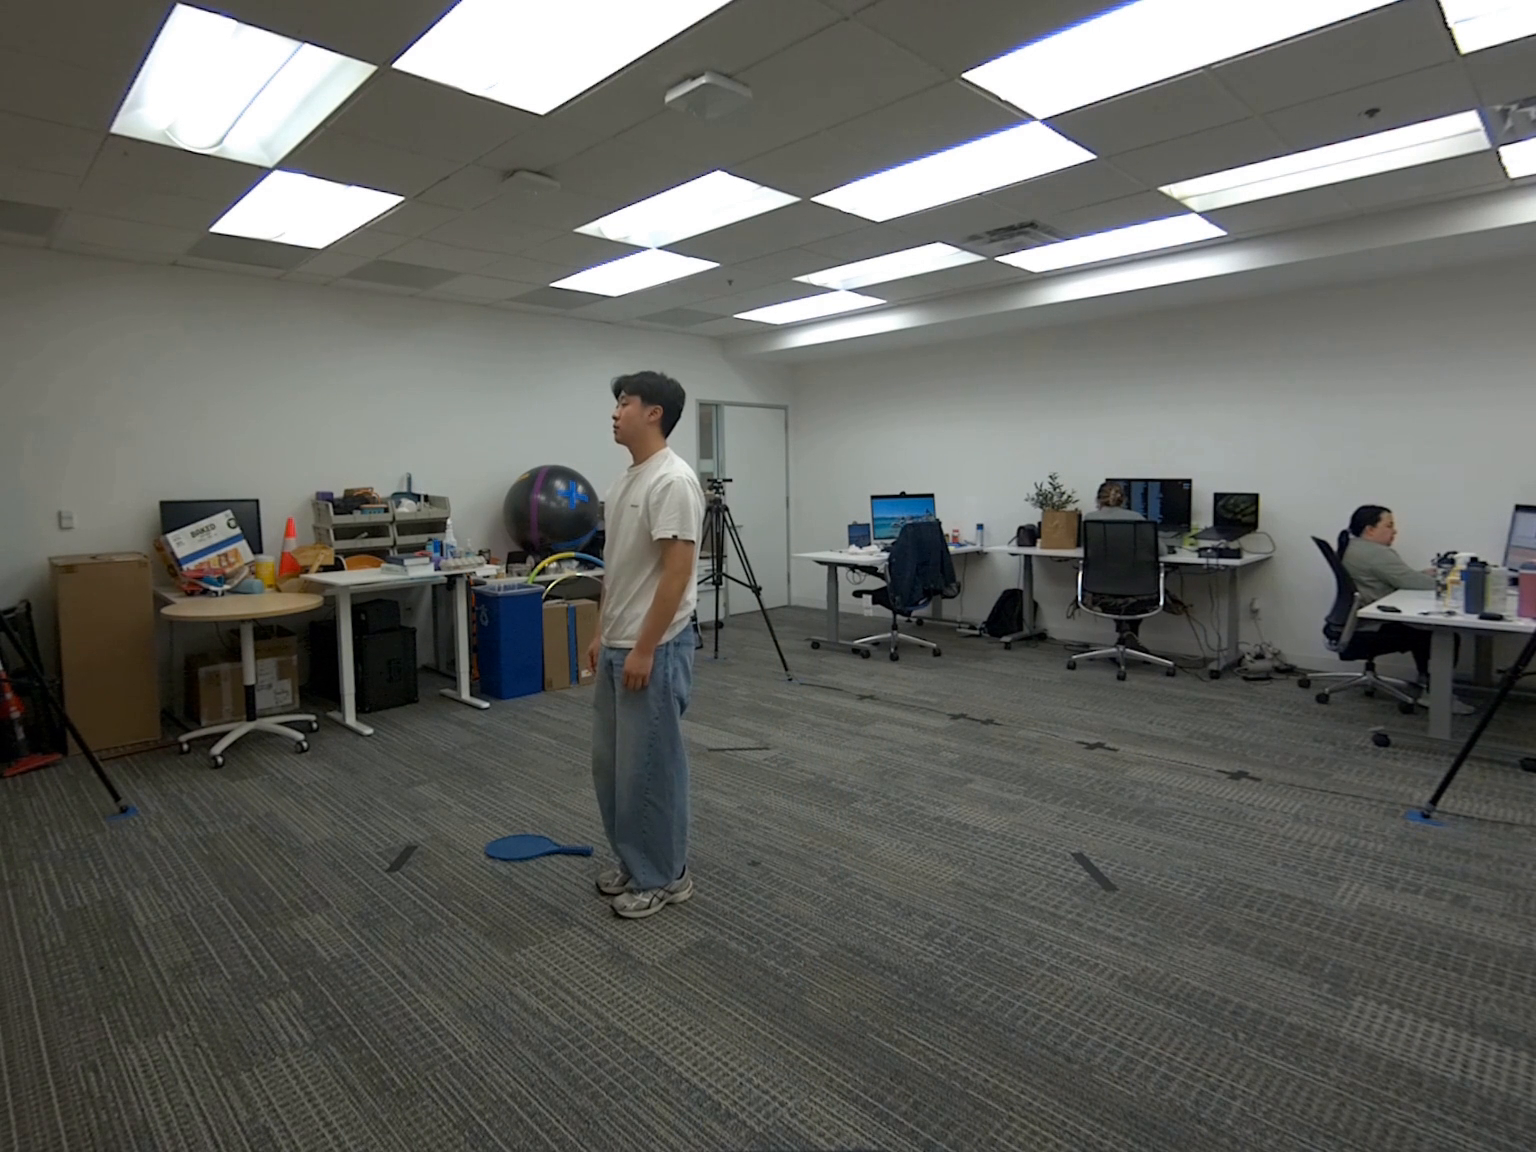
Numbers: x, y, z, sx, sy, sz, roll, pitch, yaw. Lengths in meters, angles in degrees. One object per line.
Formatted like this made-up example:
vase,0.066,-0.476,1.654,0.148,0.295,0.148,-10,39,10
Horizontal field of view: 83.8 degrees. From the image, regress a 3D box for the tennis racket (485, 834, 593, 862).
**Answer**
tennis racket,-0.860,1.031,3.240,0.439,0.031,0.211,-1,7,15
